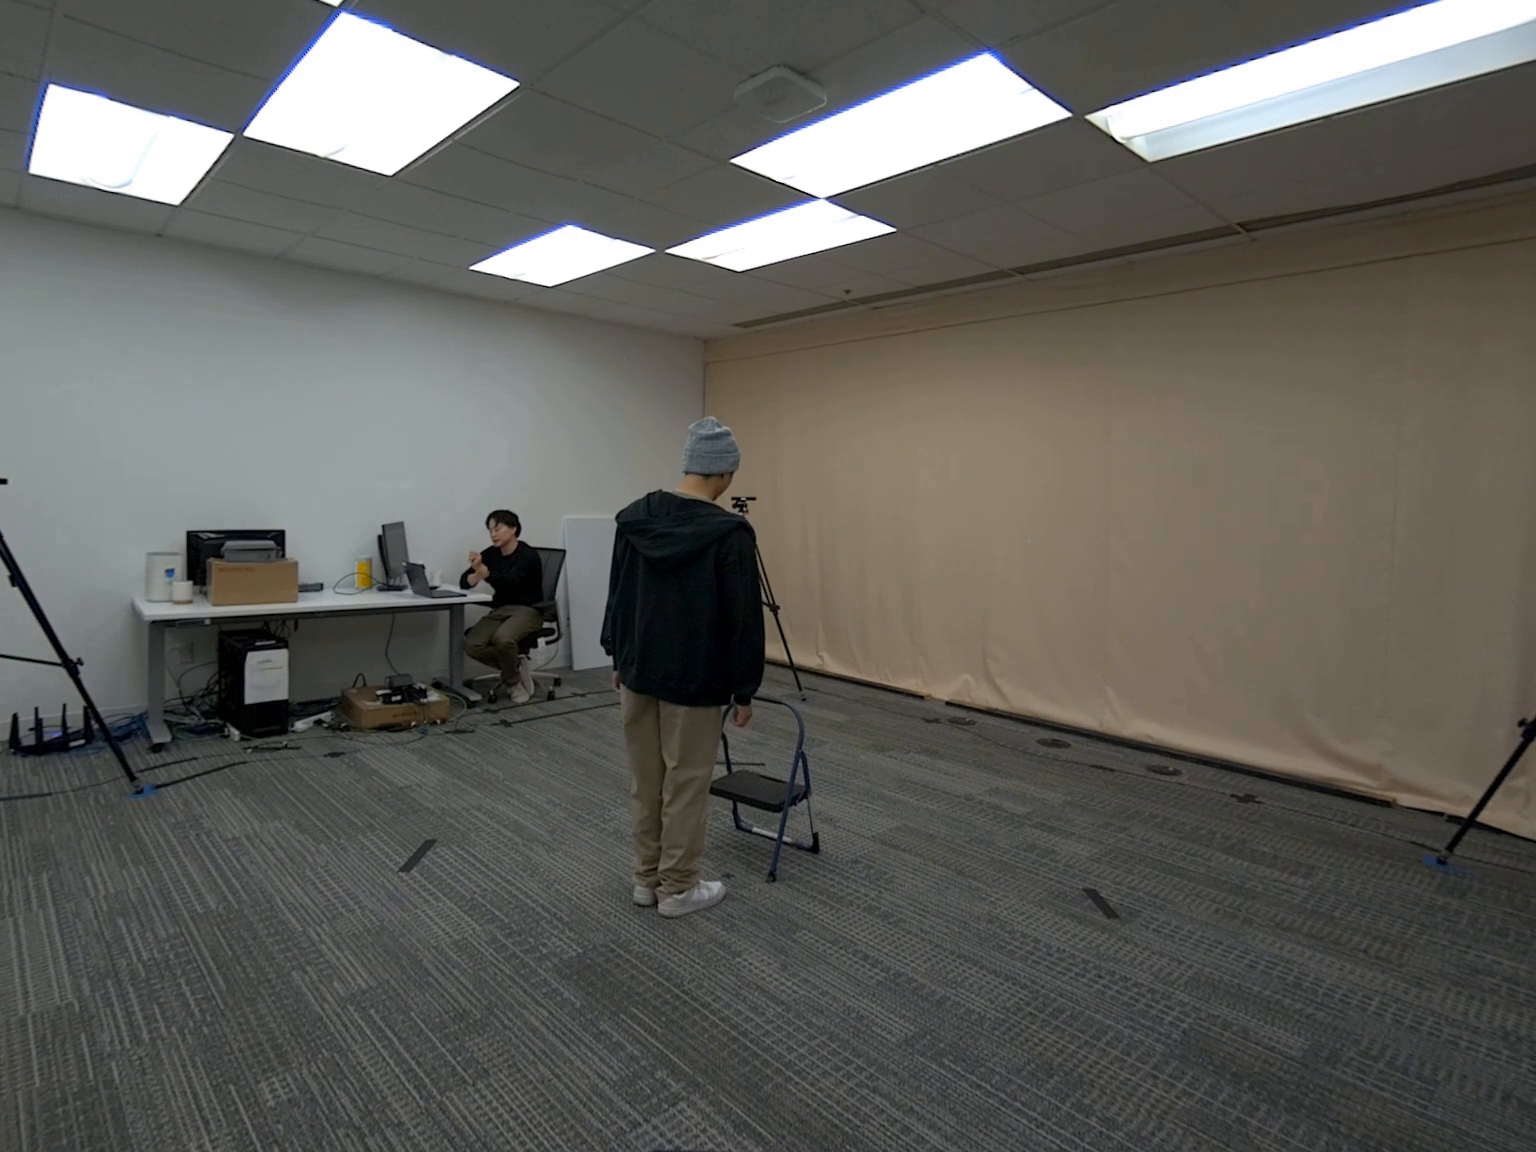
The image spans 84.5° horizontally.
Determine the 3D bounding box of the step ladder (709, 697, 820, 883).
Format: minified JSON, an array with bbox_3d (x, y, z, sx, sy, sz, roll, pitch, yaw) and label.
[{"bbox_3d":[-0.055,0.788,3.305,0.441,0.604,0.342,4,4,36],"label":"step ladder"}]
